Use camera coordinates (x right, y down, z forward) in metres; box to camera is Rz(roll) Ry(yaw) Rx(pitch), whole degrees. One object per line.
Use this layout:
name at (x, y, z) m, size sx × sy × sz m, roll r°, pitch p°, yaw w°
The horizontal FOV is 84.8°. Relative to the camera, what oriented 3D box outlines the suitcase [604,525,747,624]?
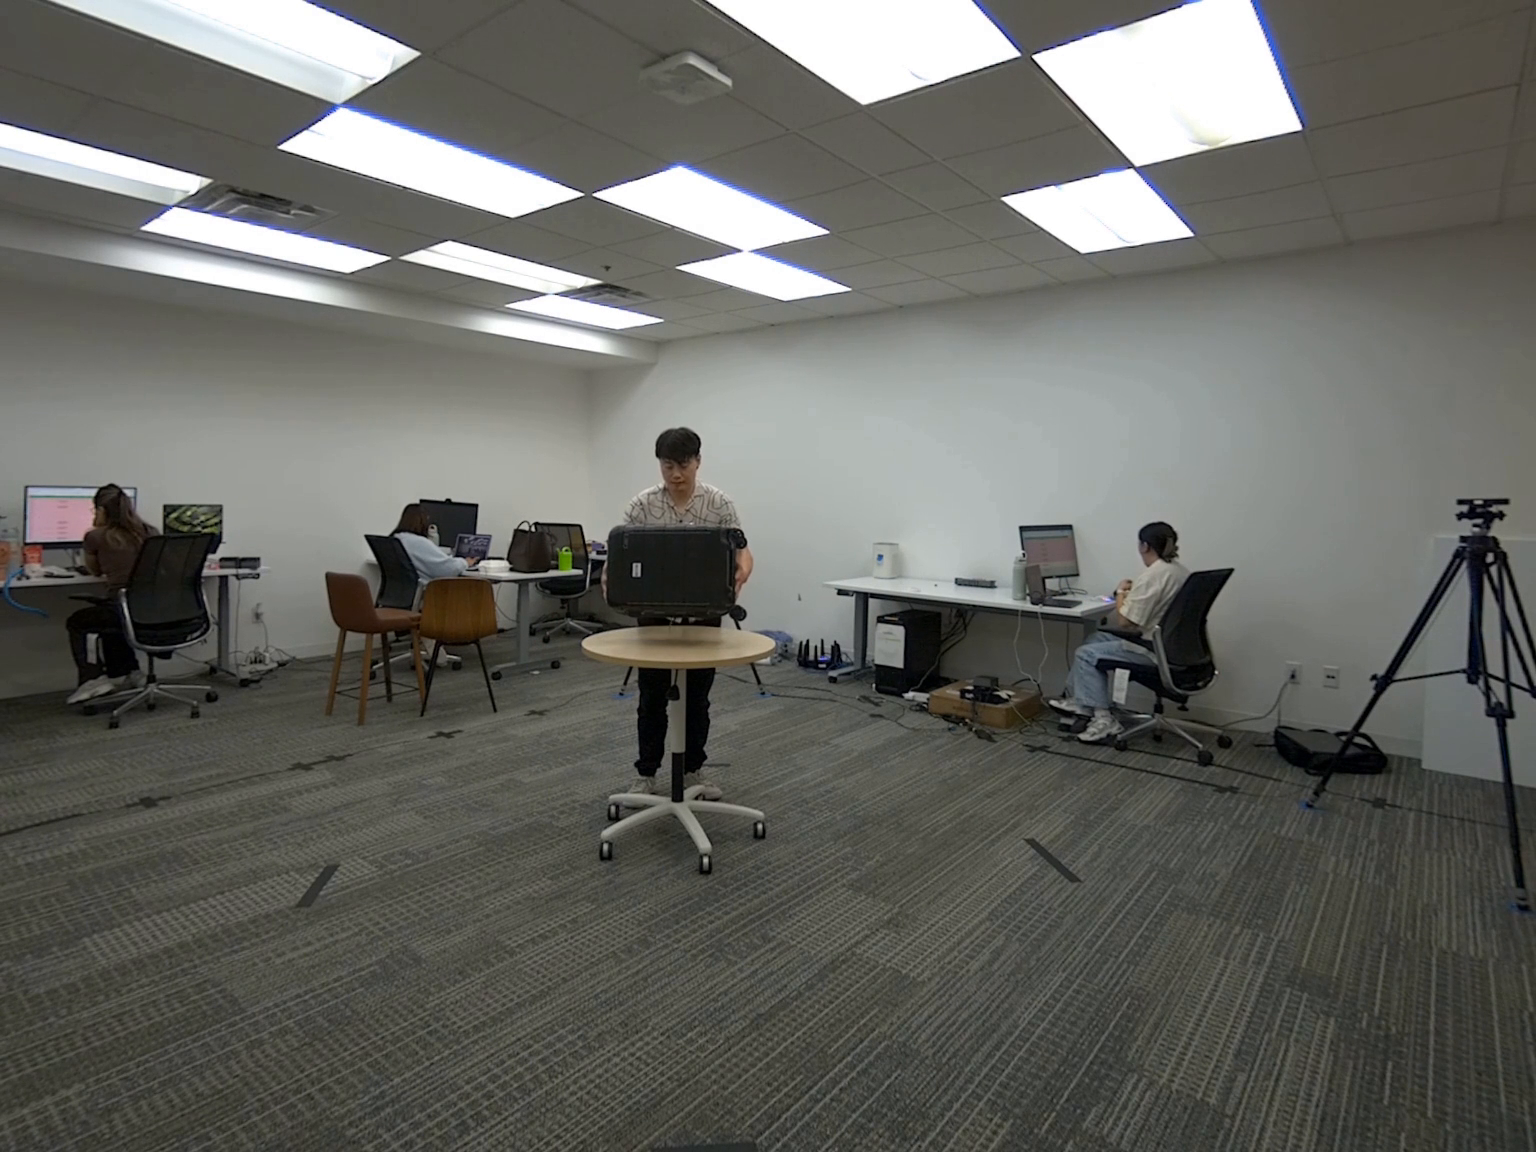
suitcase at (-0.375, -0.028, 3.364) m, size 0.553 × 0.377 × 0.245 m, roll 1°, pitch -5°, yaw 5°
